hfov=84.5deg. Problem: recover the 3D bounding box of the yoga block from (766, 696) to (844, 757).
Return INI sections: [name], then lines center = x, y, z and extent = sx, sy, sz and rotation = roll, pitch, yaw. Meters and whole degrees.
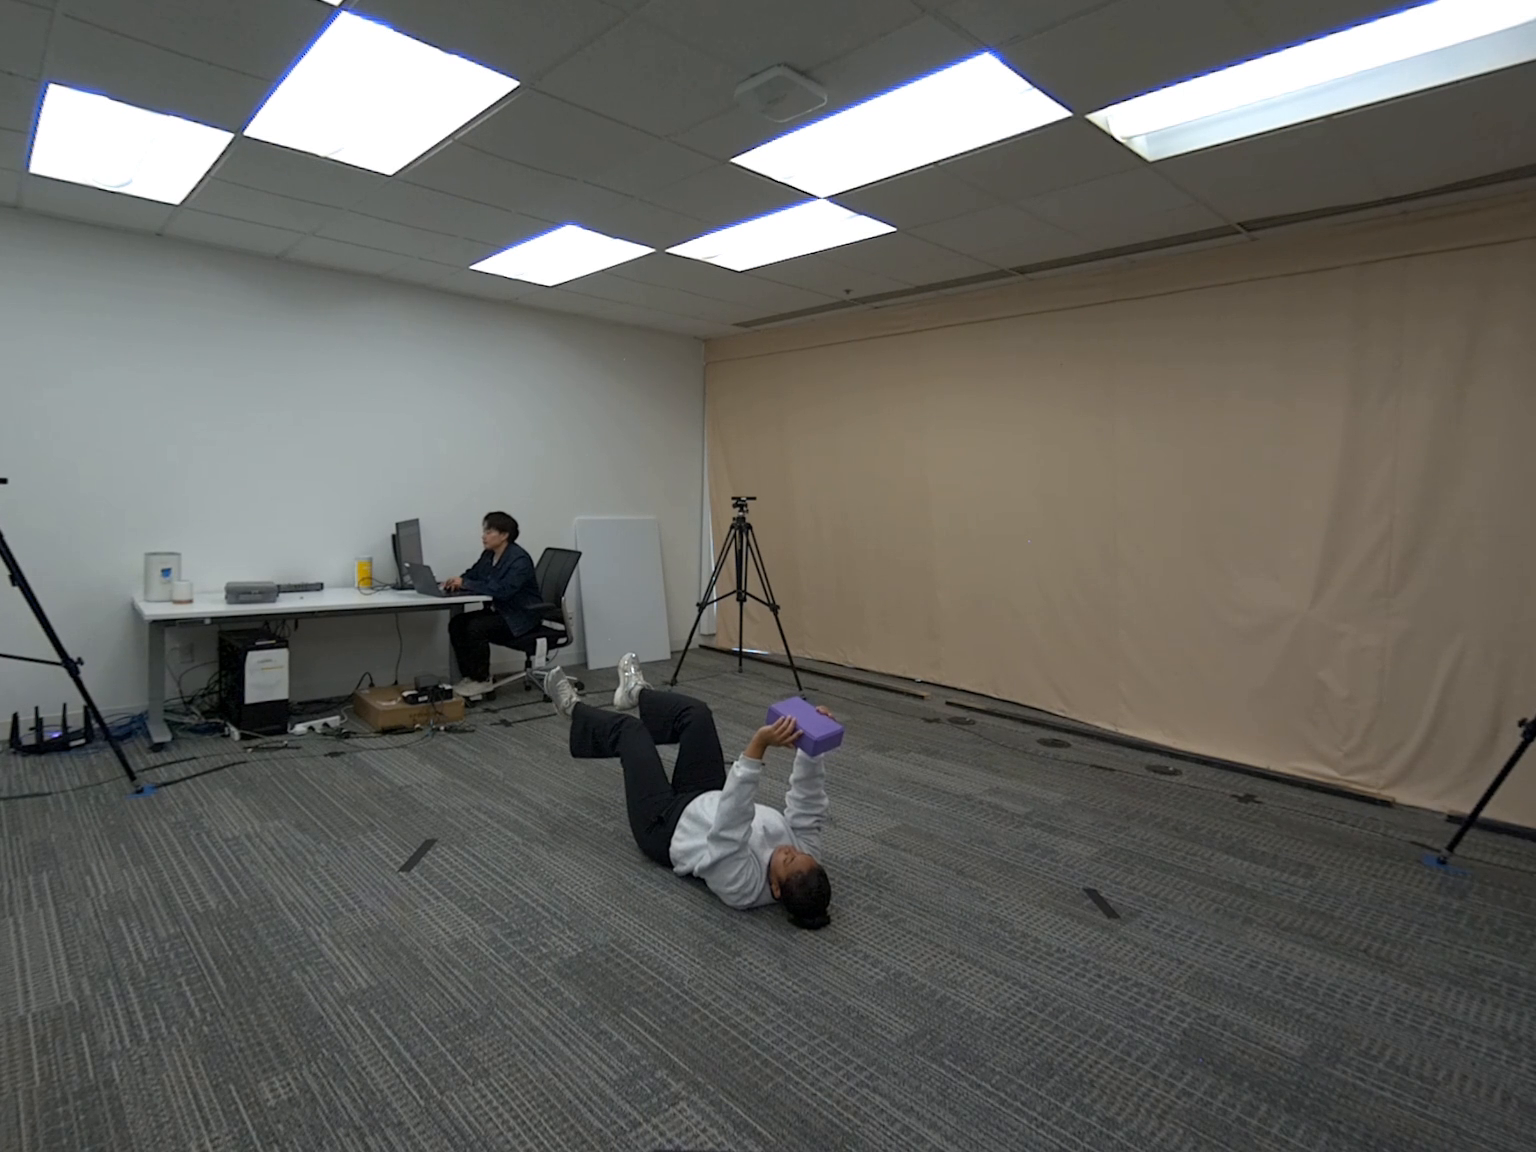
[yoga block]
center = 0.121, 0.503, 2.806
extent = 0.146, 0.075, 0.236
rotation = -11, 29, -43
